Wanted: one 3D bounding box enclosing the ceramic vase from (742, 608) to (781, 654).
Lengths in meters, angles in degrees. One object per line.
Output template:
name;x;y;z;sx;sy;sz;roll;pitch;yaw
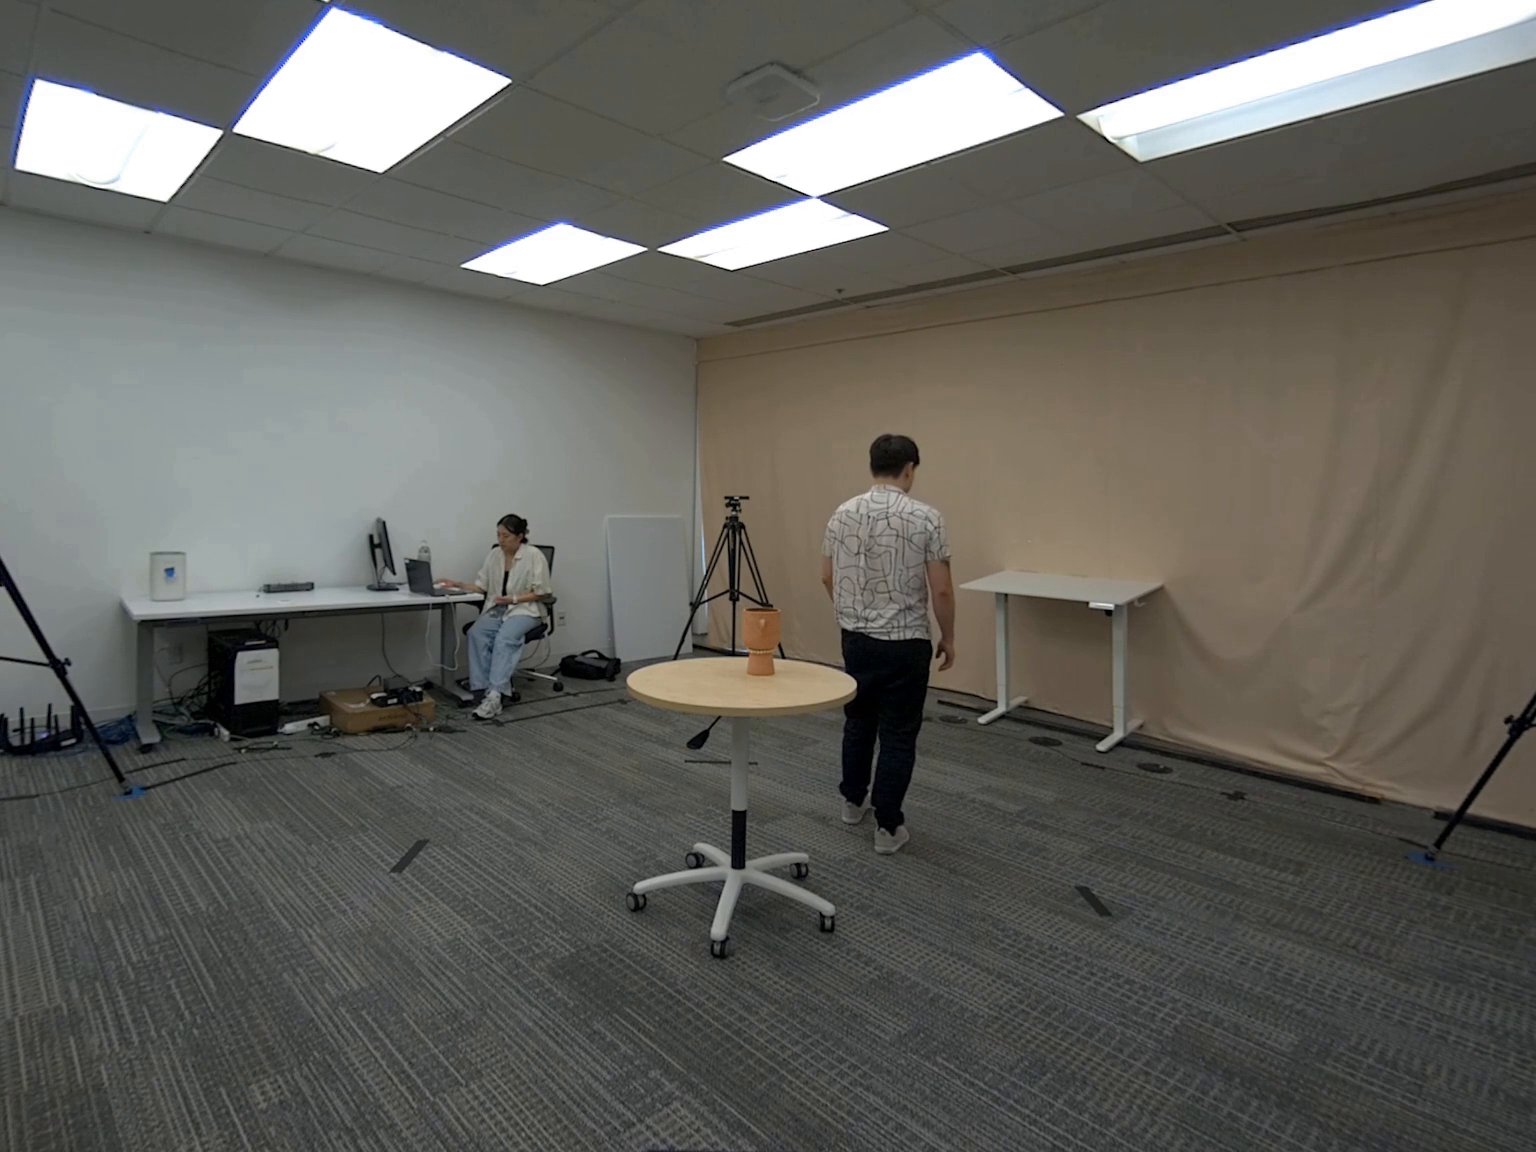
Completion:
ceramic vase;-0.030;0.230;2.912;0.138;0.219;0.155;5;6;37
